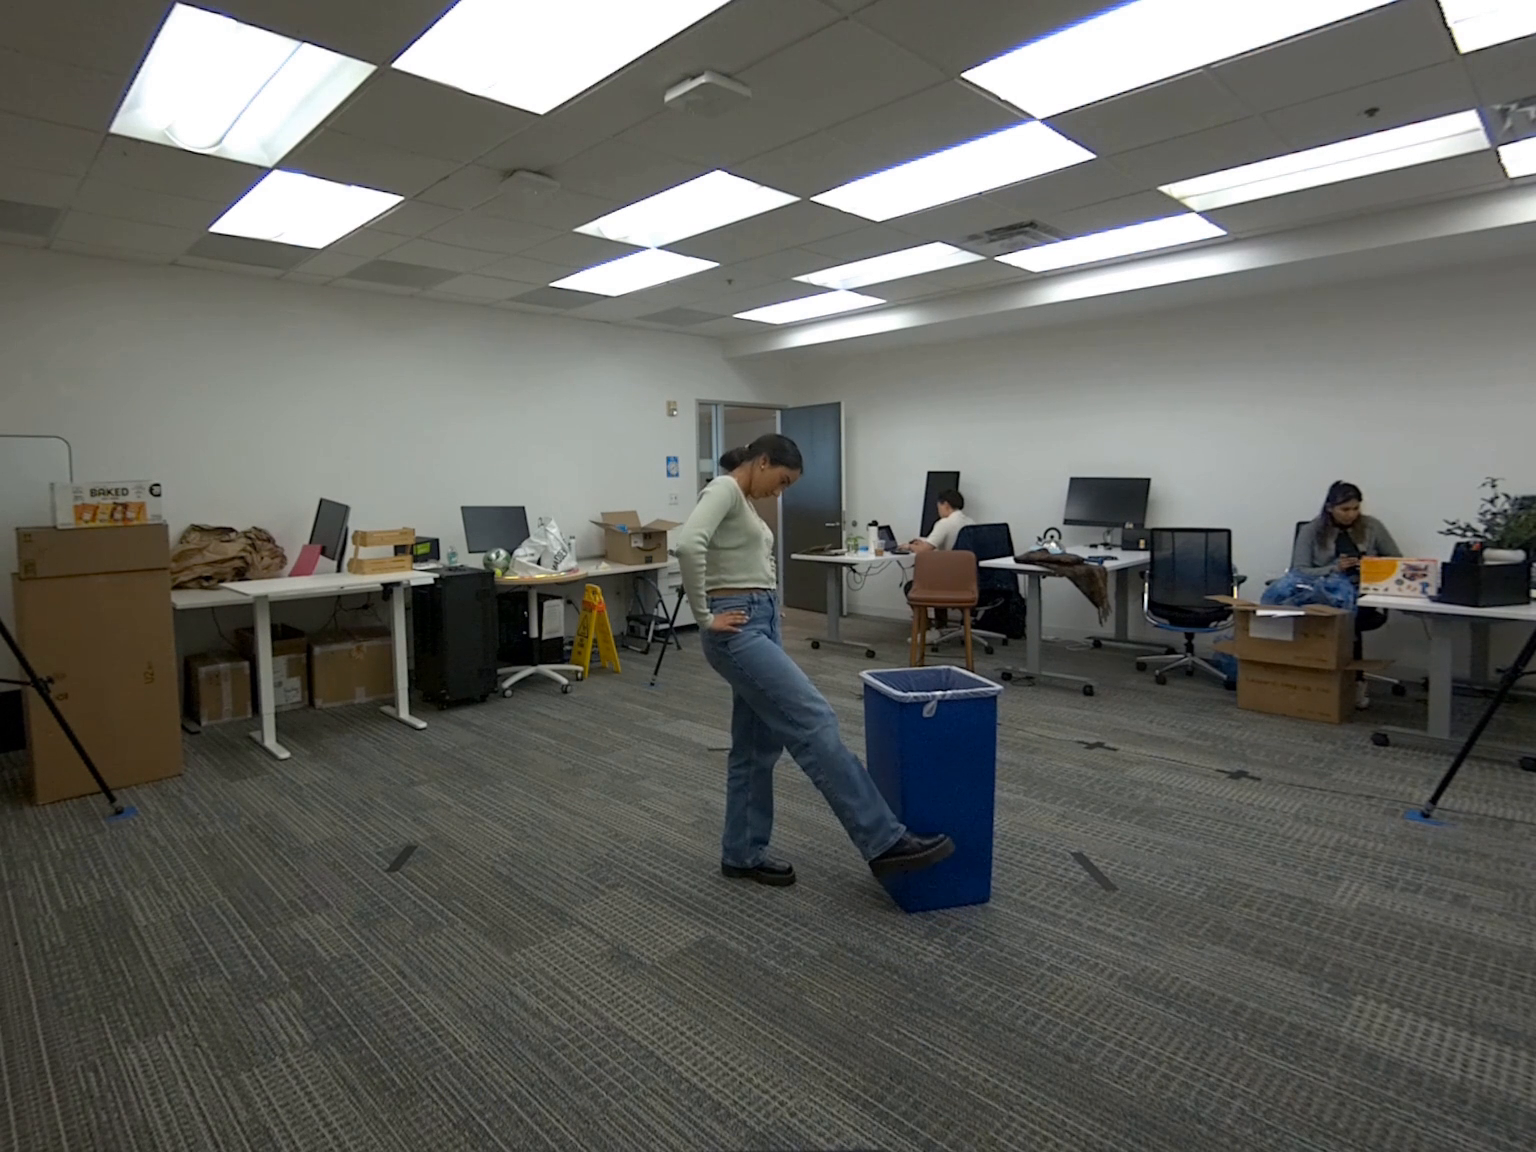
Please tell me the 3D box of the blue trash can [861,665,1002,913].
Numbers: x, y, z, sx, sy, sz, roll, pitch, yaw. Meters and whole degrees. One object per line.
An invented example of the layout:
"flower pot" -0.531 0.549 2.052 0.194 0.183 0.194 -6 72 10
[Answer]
"blue trash can" 0.549 0.697 2.881 0.369 0.711 0.384 -2 4 -15
